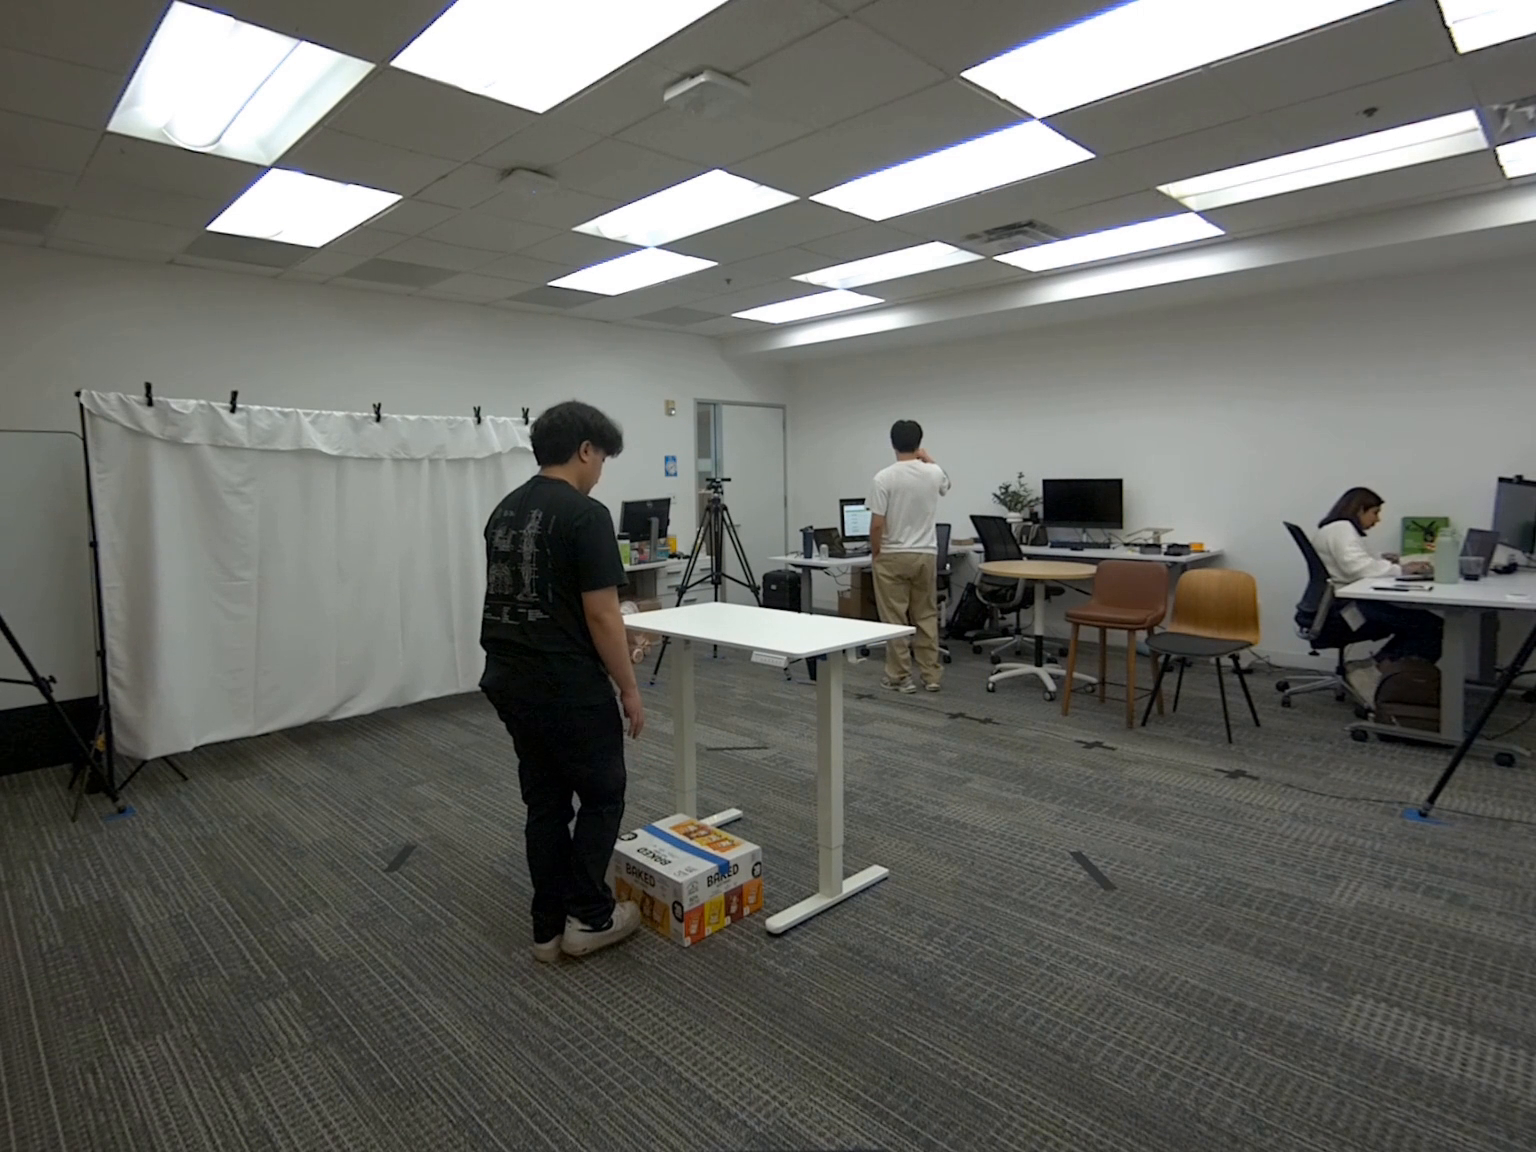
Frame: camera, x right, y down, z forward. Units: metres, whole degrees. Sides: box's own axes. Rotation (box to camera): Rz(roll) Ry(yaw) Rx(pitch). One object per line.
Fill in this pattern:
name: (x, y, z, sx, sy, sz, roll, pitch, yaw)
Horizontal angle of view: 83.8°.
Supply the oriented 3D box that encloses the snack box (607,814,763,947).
snack box: (-0.280, 0.983, 2.801, 0.418, 0.205, 0.331, 5, 8, 45)
